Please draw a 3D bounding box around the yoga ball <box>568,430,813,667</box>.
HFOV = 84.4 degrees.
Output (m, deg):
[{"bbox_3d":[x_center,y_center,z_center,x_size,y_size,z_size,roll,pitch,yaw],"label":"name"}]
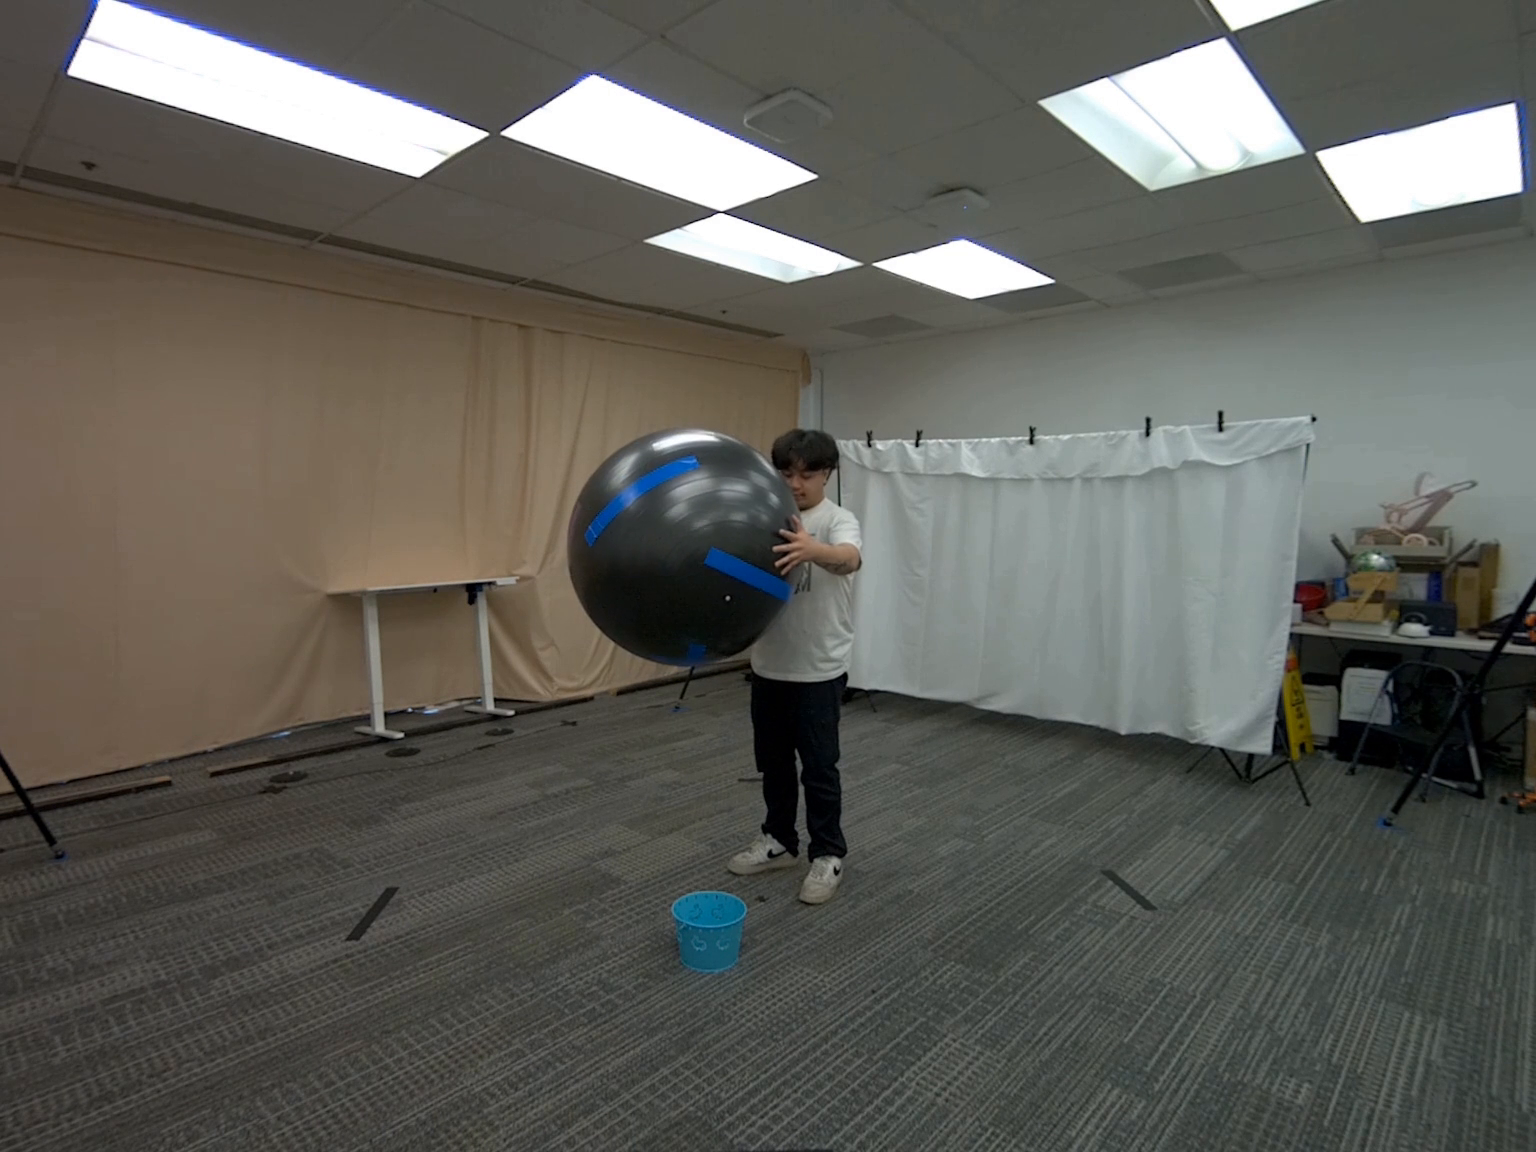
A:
[{"bbox_3d":[-0.268,-0.083,2.701,0.757,0.756,0.760,0,4,-2],"label":"yoga ball"}]
